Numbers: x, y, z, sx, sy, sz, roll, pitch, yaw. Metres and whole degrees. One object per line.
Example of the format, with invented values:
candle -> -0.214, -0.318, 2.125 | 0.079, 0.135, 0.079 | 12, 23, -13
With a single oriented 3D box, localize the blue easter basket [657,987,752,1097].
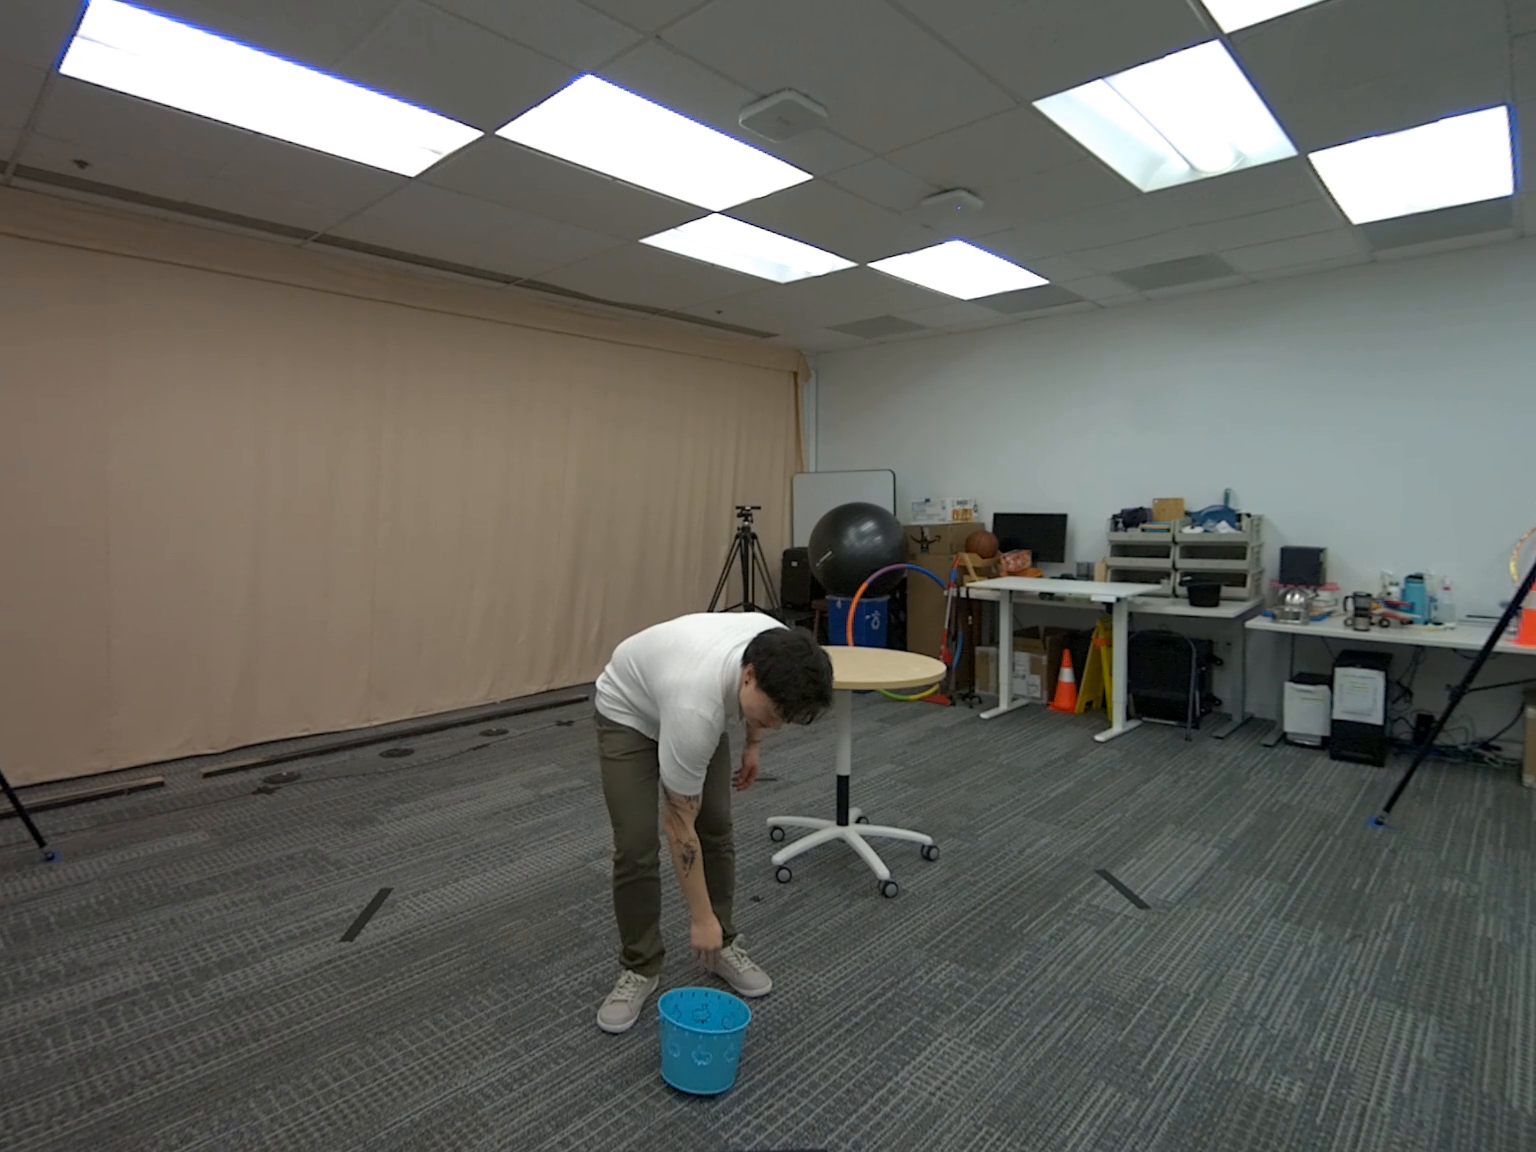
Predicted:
blue easter basket -> -0.164, 1.127, 2.057 | 0.243, 0.156, 0.243 | 5, -1, -2
